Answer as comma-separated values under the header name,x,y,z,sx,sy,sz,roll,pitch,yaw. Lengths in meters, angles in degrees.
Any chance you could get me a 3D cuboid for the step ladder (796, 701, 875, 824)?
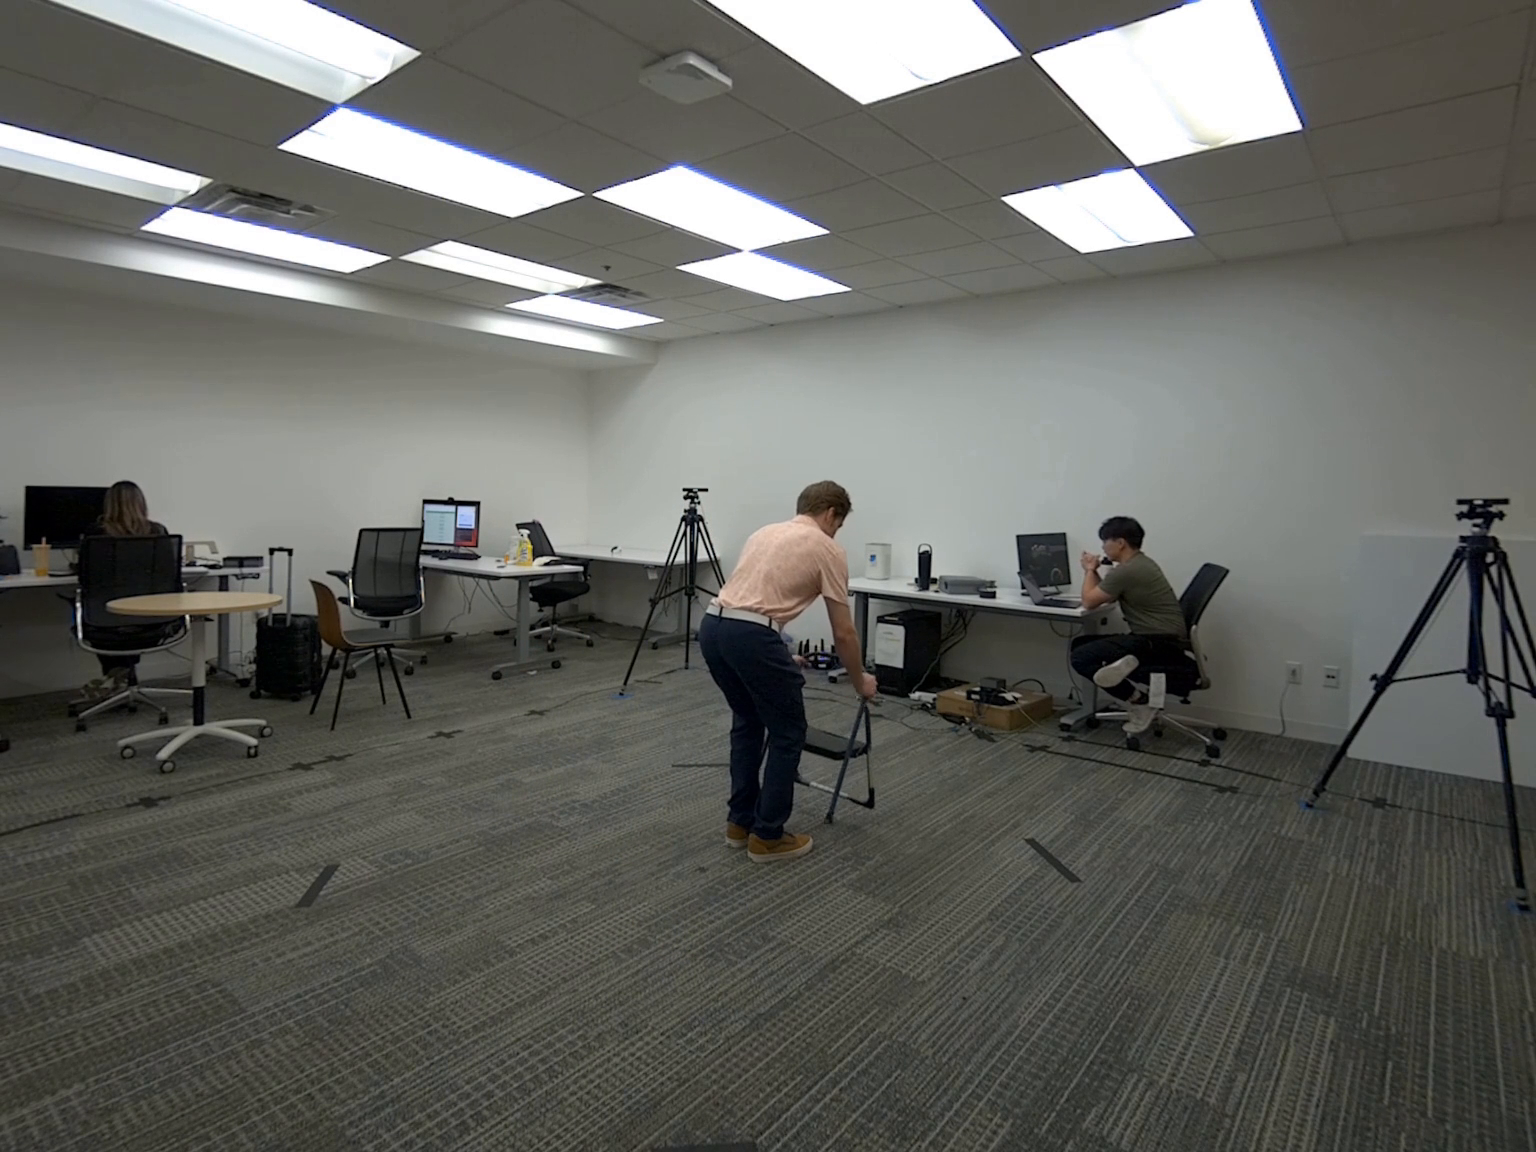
name,x,y,z,sx,sy,sz,roll,pitch,yaw
step ladder,0.205,0.625,3.518,0.446,0.605,0.337,8,3,40
